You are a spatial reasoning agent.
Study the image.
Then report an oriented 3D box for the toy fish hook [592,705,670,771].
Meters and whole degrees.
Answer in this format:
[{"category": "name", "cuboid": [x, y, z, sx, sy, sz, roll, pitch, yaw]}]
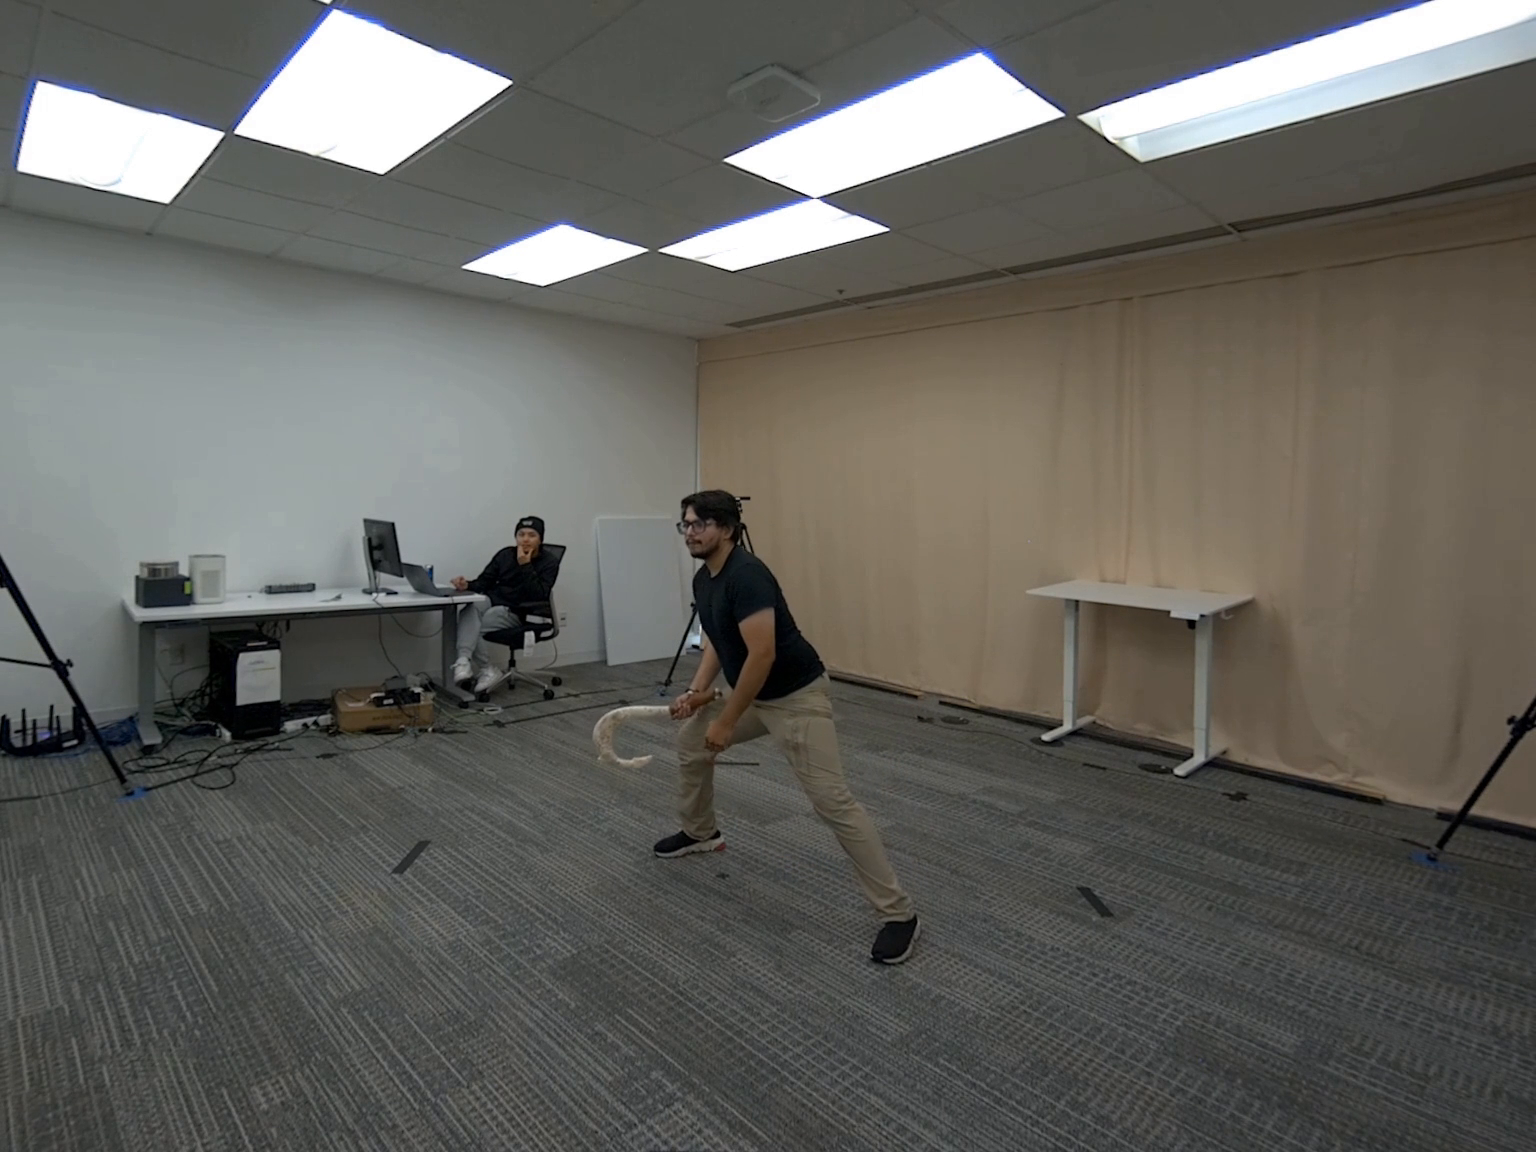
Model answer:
[{"category": "toy fish hook", "cuboid": [-0.399, 0.557, 3.089, 0.508, 0.226, 0.048, -18, -7, 5]}]
